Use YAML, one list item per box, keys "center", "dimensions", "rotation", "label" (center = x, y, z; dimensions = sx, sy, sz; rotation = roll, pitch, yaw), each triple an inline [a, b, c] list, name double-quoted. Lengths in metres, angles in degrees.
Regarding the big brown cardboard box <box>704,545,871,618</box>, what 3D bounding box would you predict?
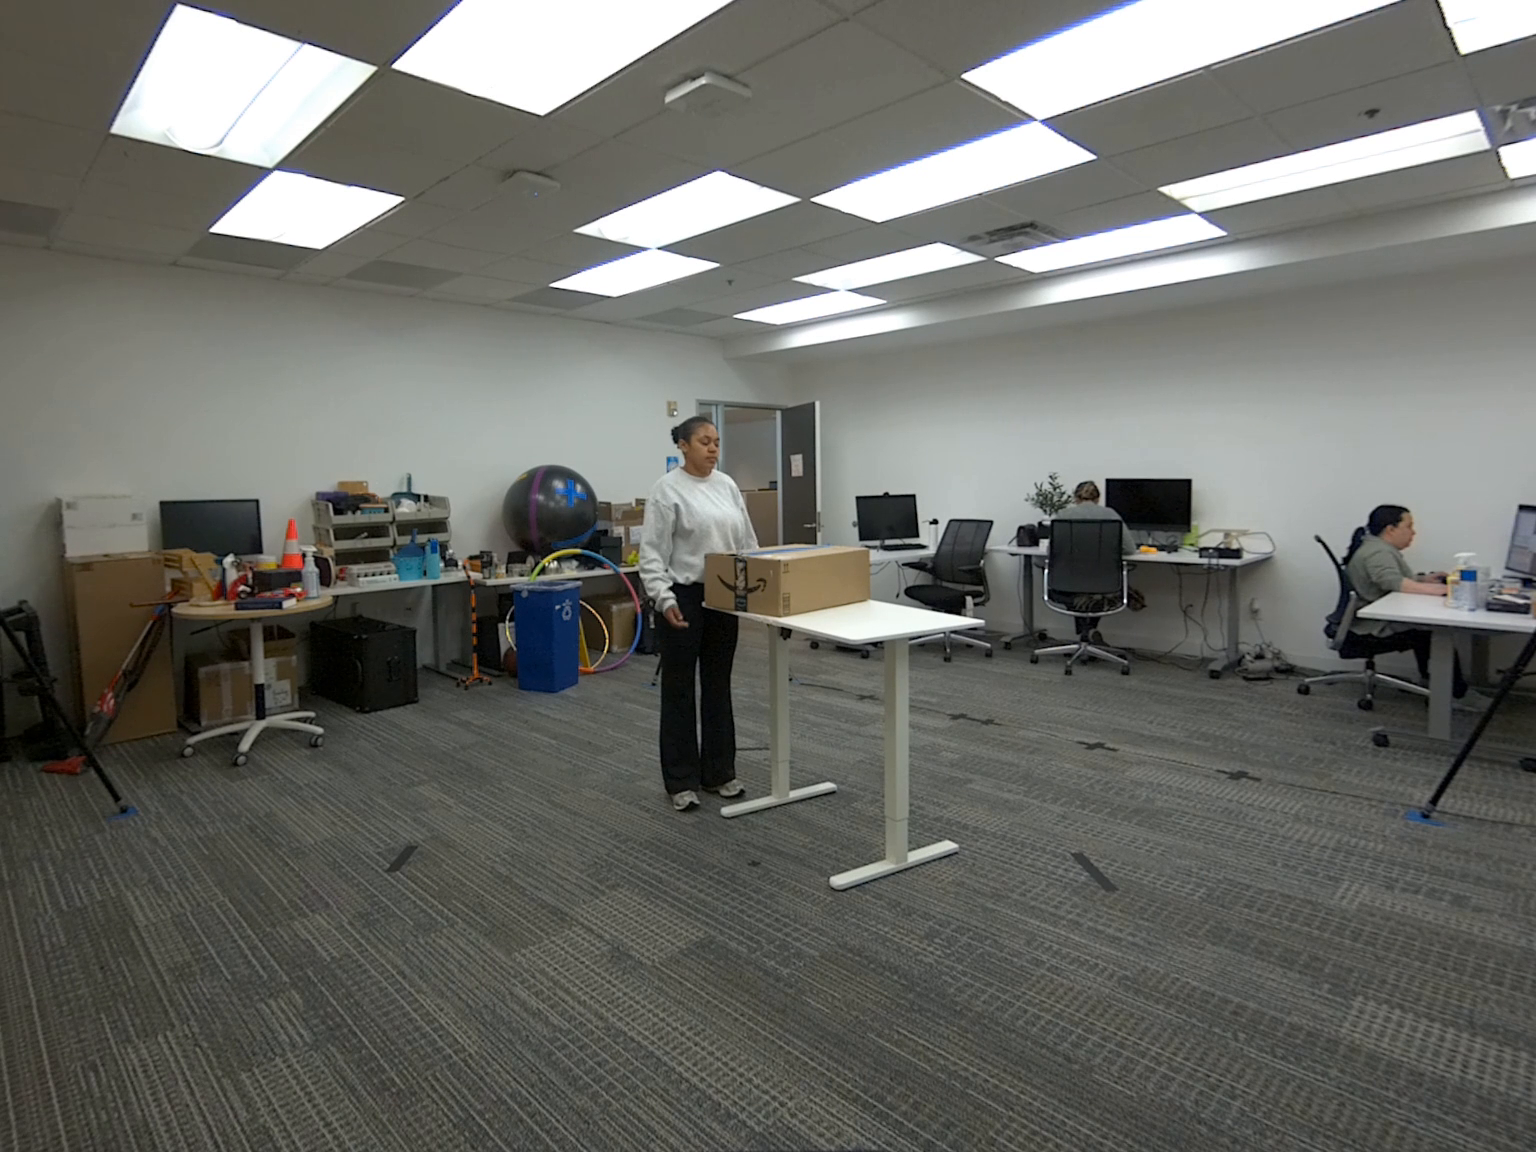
- center: [0.078, 0.006, 3.495]
  dimensions: [0.430, 0.232, 0.573]
  rotation: [5, 8, 44]
  label: "big brown cardboard box"
